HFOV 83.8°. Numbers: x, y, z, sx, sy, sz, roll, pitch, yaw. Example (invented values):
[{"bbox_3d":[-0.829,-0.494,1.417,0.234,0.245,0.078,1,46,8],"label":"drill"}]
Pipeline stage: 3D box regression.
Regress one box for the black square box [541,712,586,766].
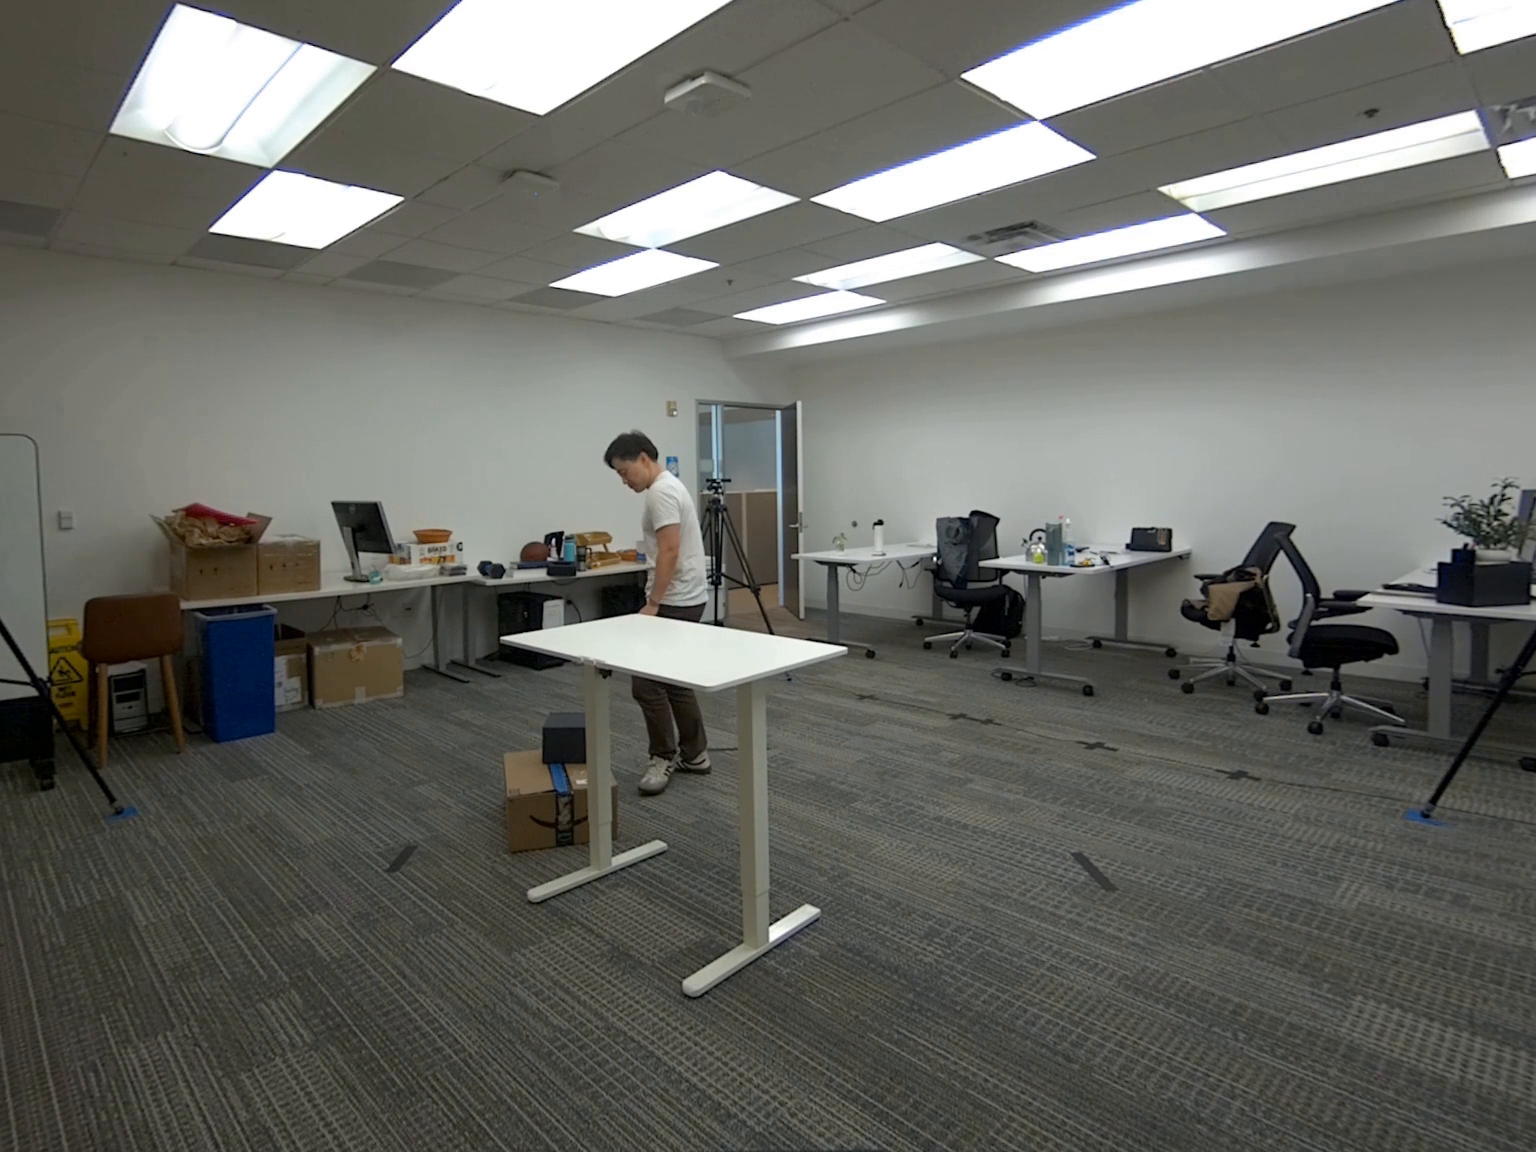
[{"bbox_3d":[-0.848,0.694,3.688,0.216,0.155,0.230,0,5,-4],"label":"black square box"}]
